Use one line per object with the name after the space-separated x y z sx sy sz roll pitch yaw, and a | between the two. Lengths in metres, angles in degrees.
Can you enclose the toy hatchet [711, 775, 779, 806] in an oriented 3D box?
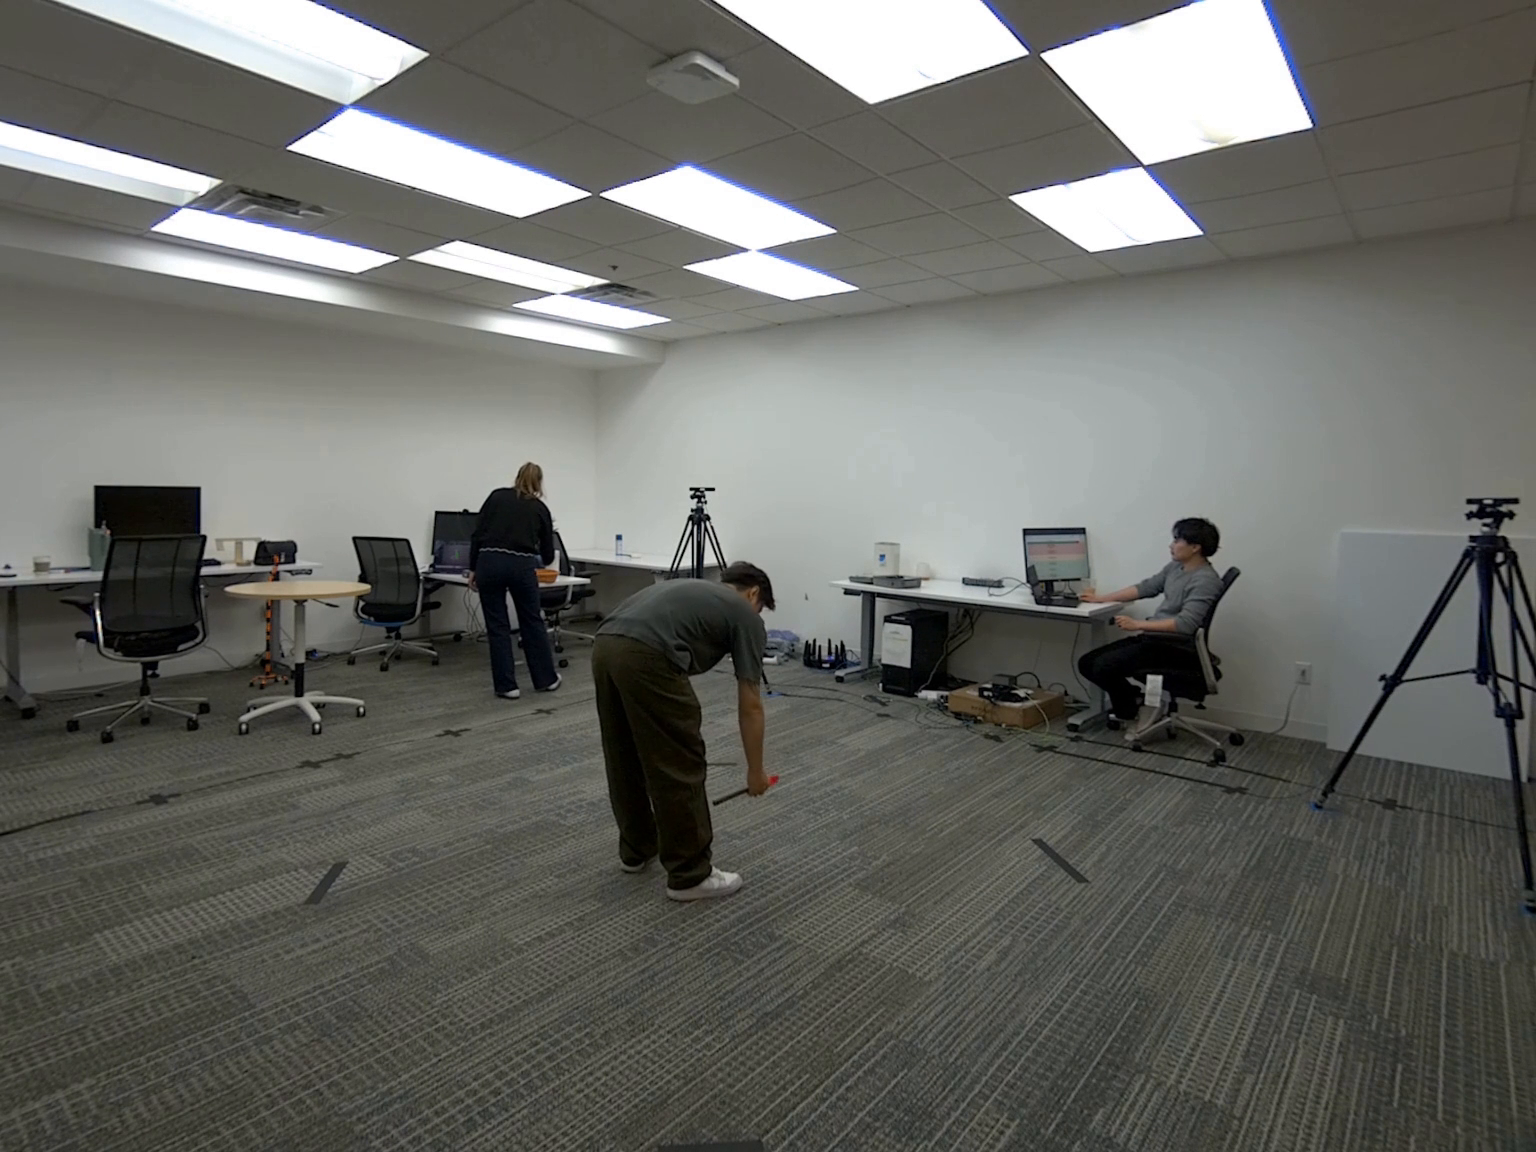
-0.096 0.802 3.138 0.267 0.030 0.129 -21 -17 -16 | toy hatchet
